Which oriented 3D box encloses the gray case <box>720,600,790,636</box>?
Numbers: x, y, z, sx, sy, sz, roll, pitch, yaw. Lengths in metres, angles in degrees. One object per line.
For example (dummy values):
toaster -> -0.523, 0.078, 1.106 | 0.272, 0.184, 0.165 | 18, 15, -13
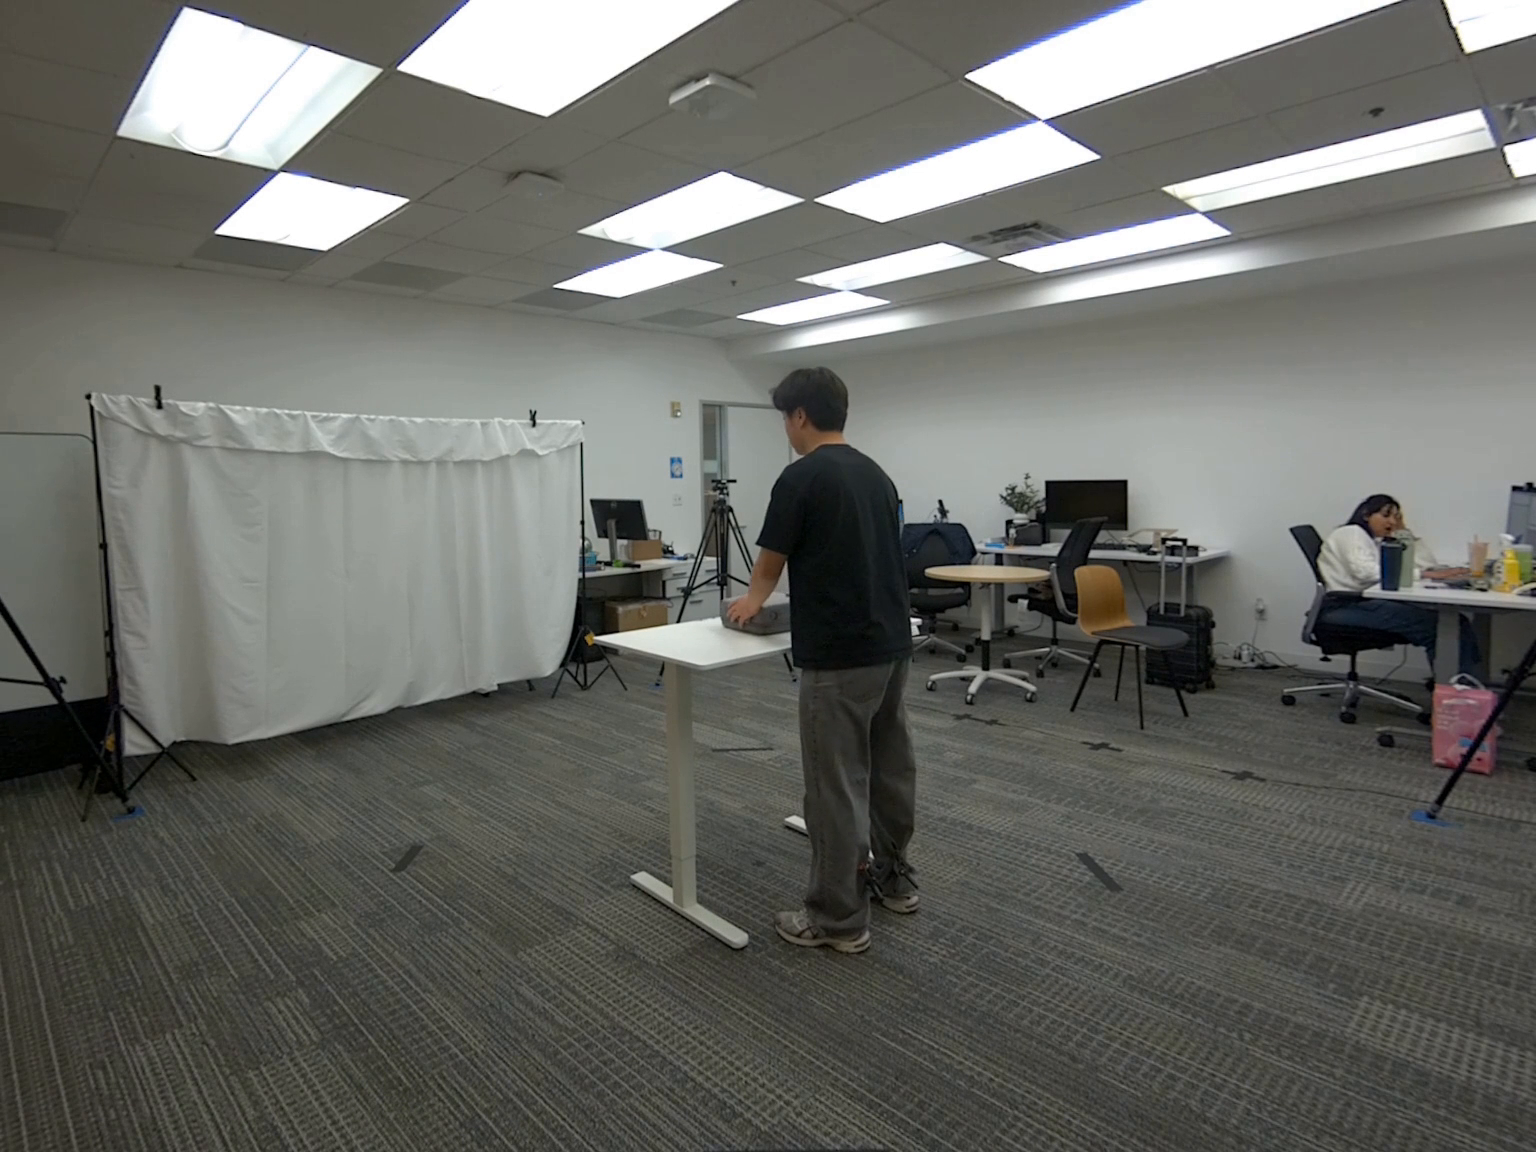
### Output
gray case -> -0.015, 0.130, 2.967 | 0.280, 0.102, 0.271 | -6, 9, -35
